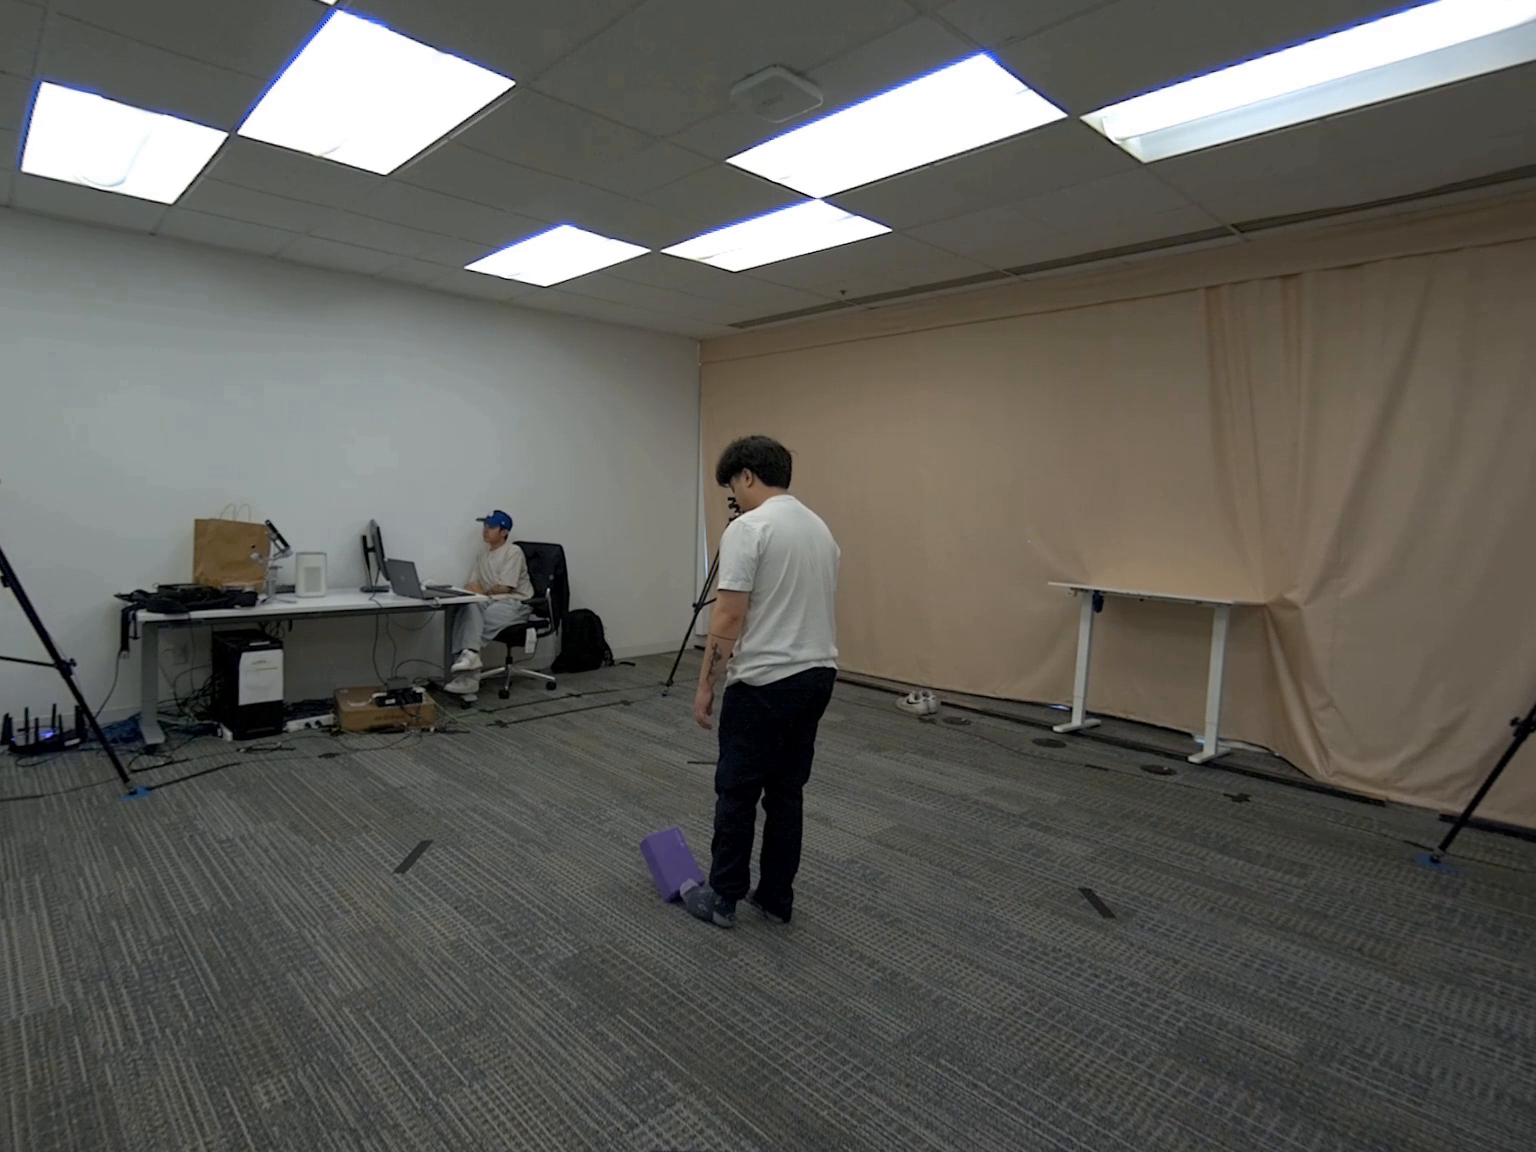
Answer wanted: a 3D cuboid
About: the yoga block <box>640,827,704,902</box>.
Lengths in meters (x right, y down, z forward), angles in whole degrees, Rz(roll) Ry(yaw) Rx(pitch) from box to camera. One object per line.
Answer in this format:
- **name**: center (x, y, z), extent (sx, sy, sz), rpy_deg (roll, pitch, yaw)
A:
- **yoga block**: center (-0.342, 1.021, 2.974), extent (0.146, 0.076, 0.236), rpy_deg (-4, 48, -41)
